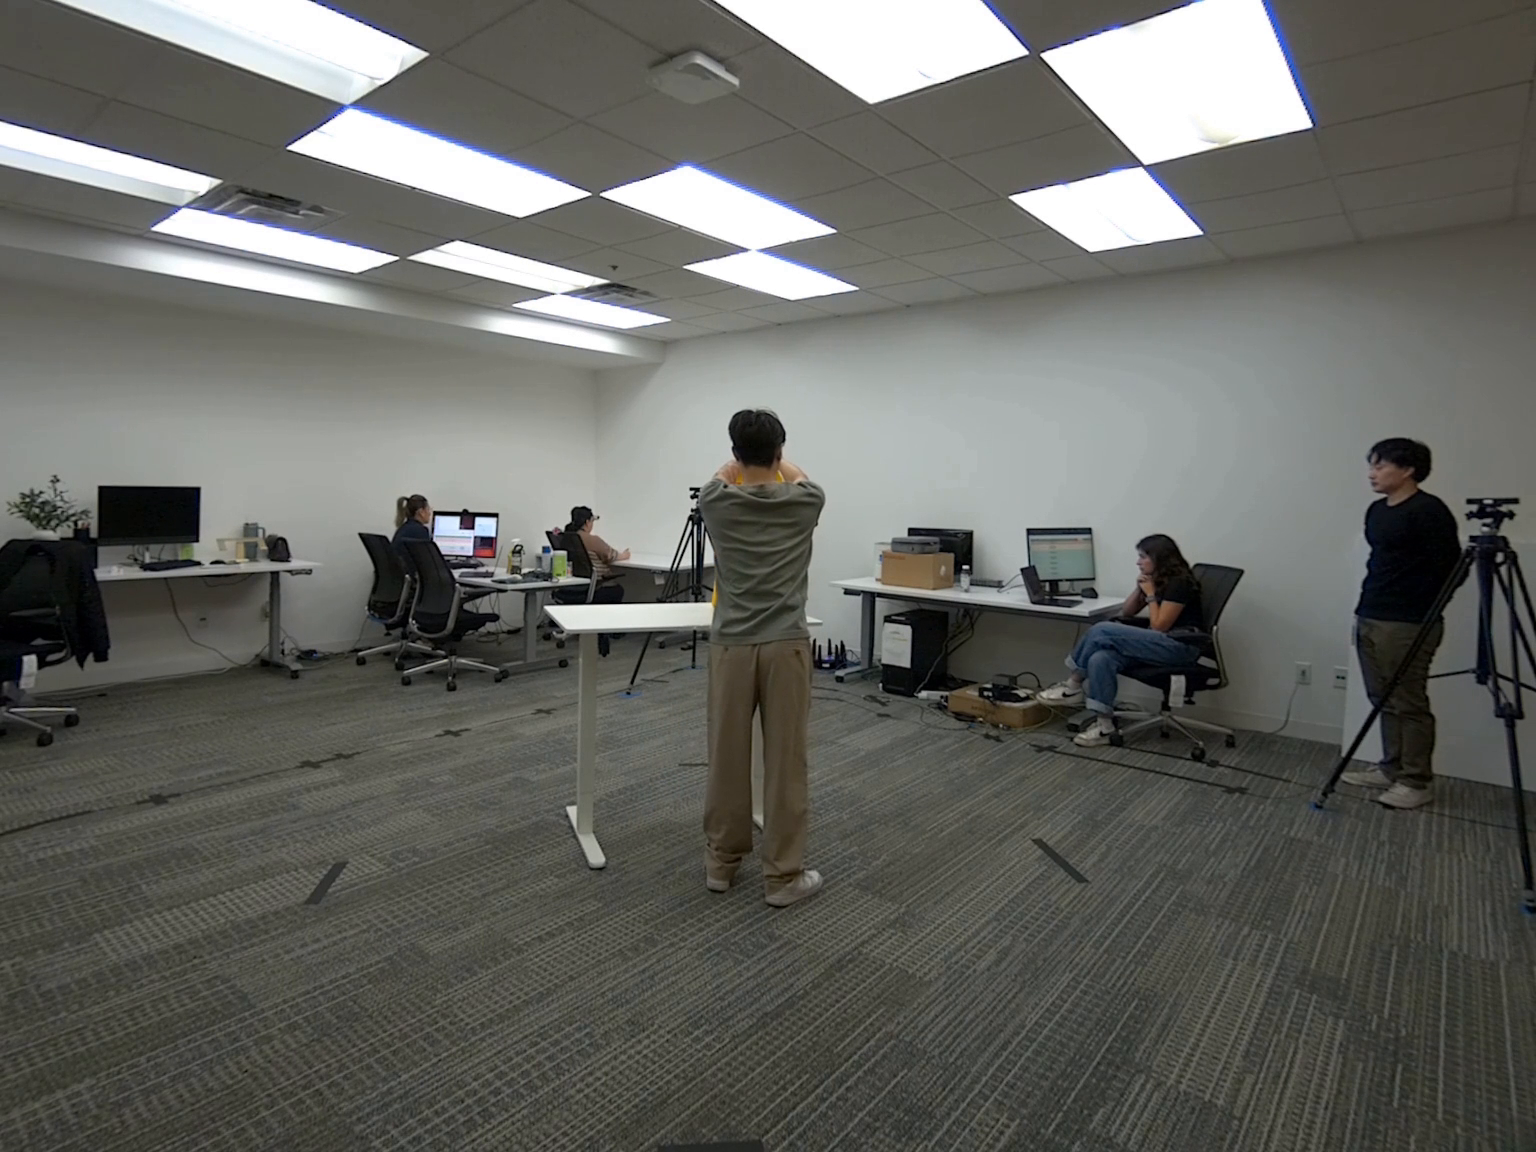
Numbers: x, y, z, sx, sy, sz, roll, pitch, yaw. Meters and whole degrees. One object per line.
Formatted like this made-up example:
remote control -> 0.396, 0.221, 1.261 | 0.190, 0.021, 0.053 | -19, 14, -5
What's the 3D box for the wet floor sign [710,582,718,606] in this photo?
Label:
wet floor sign -> -0.061, -0.175, 3.542 | 0.277, 0.645, 0.296 | 1, 2, -18
